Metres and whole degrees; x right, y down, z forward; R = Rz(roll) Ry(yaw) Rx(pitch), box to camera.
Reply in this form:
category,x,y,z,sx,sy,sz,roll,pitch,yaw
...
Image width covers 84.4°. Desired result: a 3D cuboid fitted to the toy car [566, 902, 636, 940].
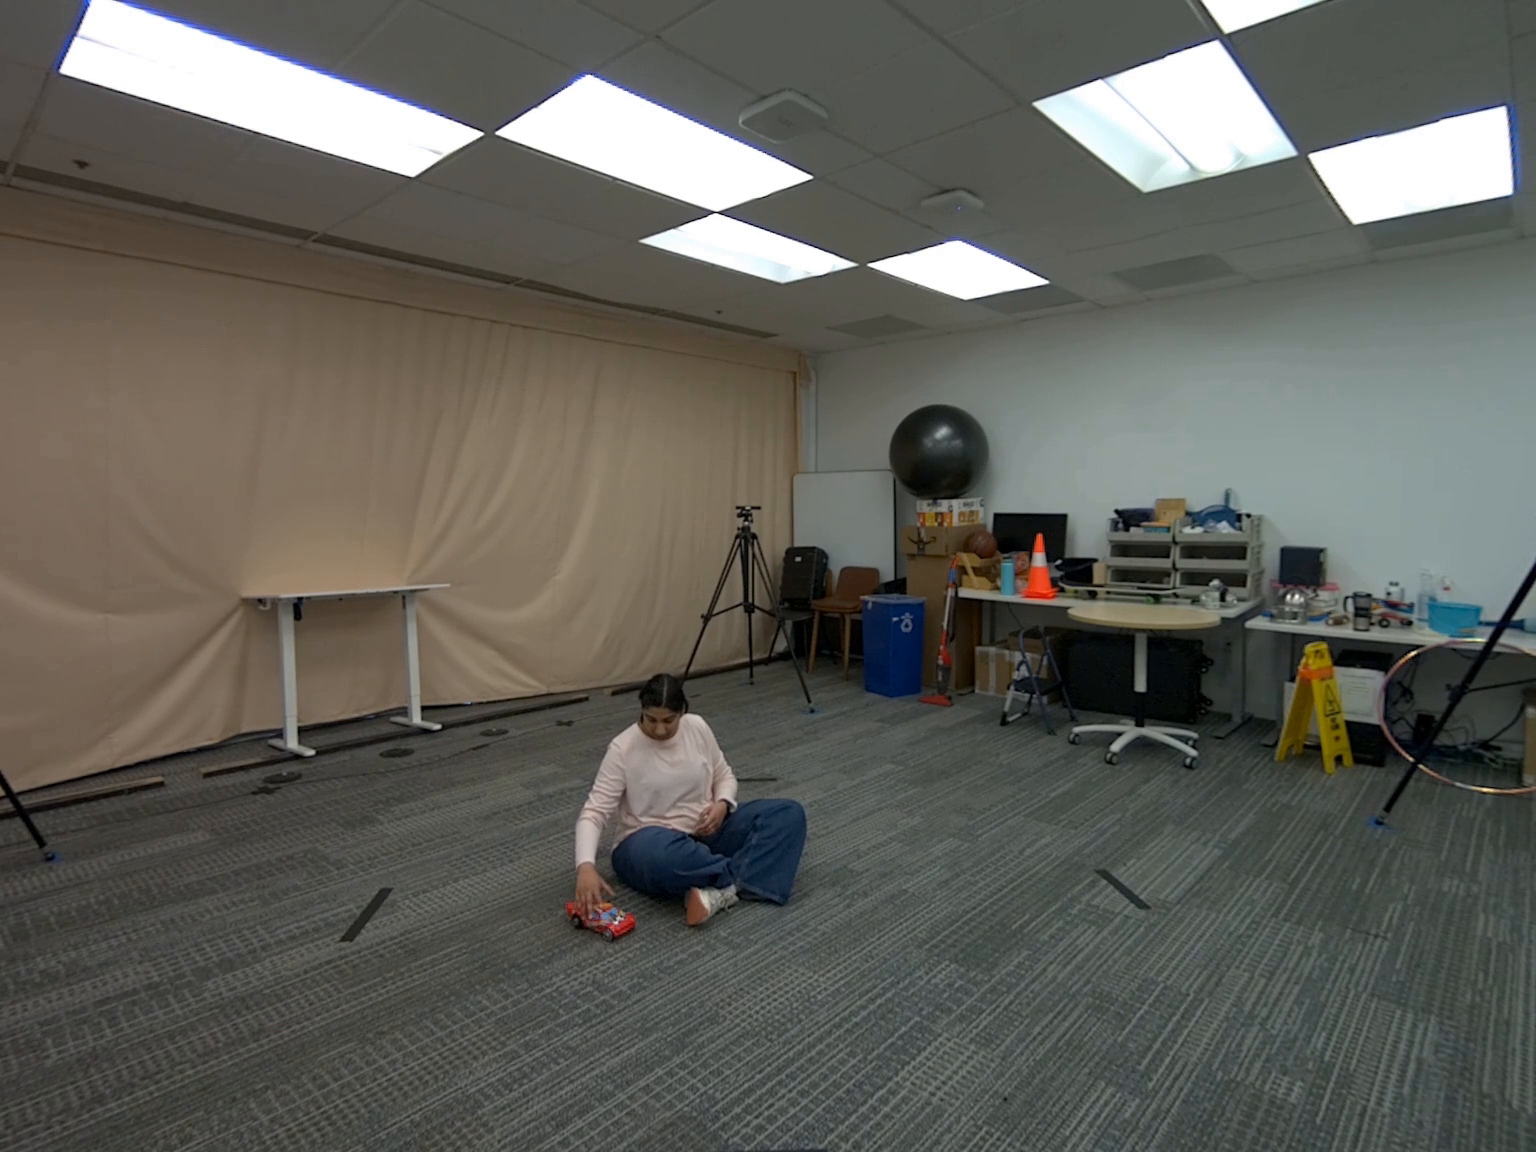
category,x,y,z,sx,sy,sz,roll,pitch,yaw
toy car,-0.555,1.124,2.801,0.263,0.083,0.126,15,13,34
